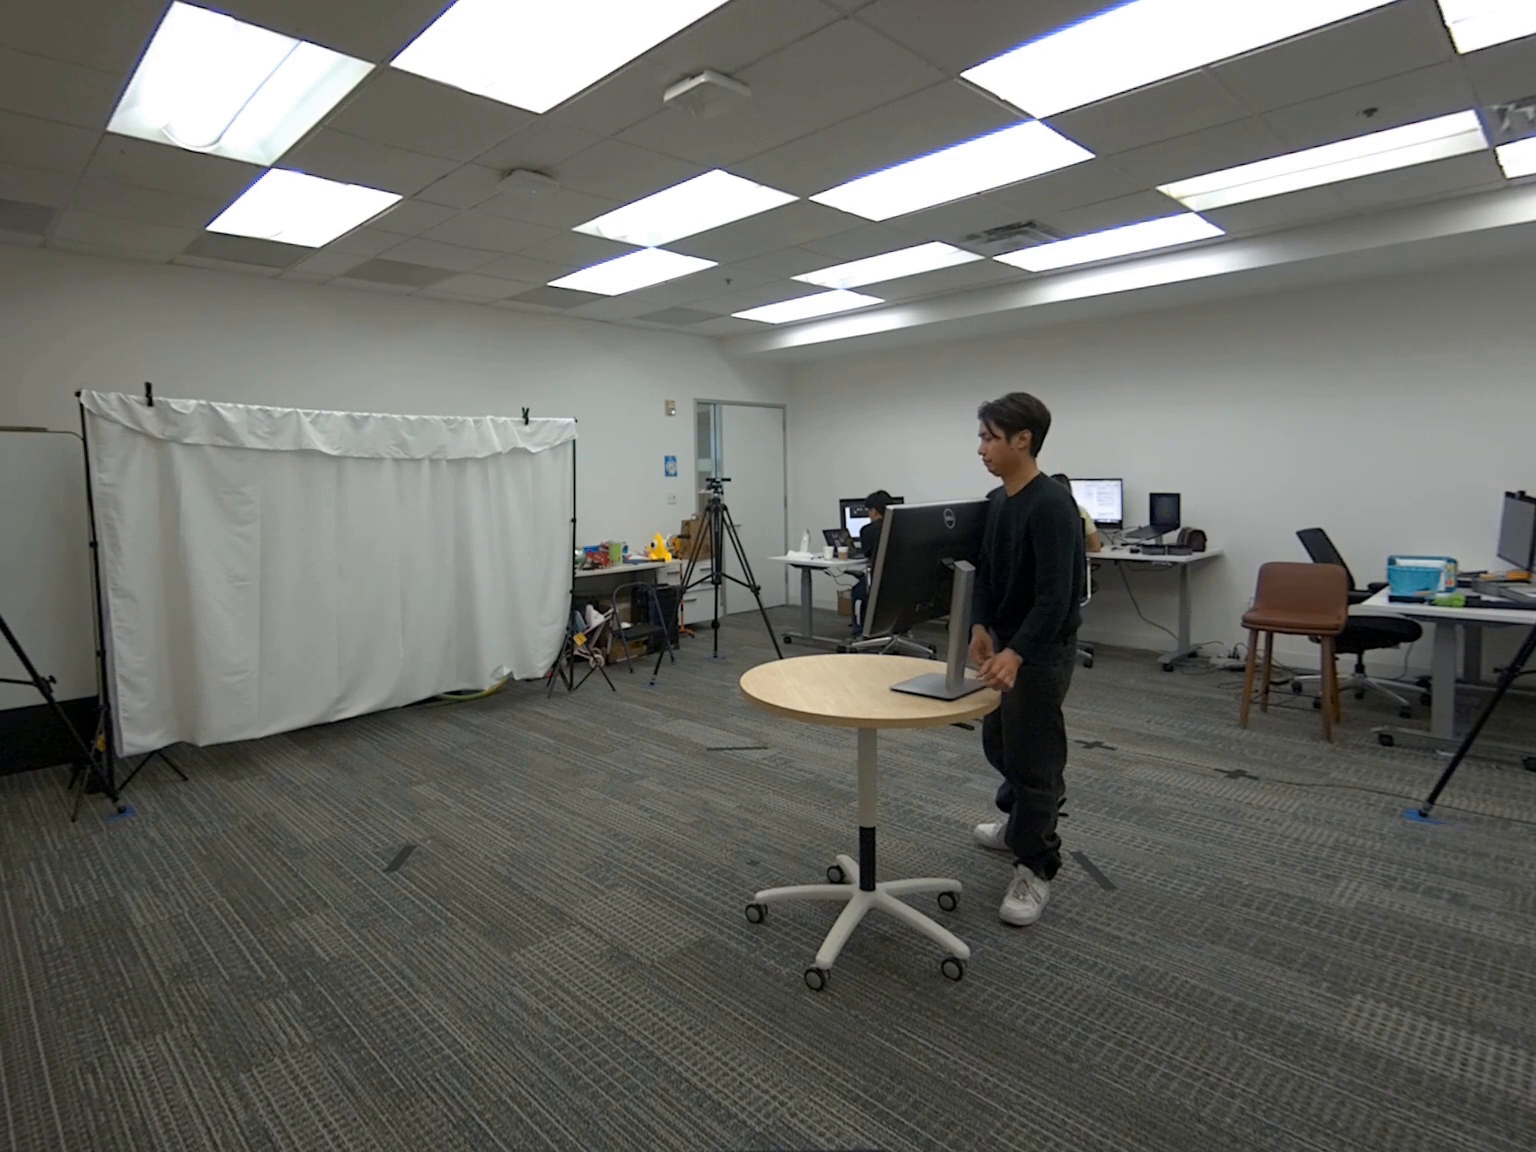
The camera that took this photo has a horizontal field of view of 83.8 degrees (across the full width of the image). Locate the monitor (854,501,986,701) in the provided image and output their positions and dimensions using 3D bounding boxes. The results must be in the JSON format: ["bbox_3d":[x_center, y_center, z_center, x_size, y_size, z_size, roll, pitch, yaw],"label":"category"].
[{"bbox_3d":[0.497,0.060,2.457,0.192,0.521,0.525,2,6,40],"label":"monitor"}]
